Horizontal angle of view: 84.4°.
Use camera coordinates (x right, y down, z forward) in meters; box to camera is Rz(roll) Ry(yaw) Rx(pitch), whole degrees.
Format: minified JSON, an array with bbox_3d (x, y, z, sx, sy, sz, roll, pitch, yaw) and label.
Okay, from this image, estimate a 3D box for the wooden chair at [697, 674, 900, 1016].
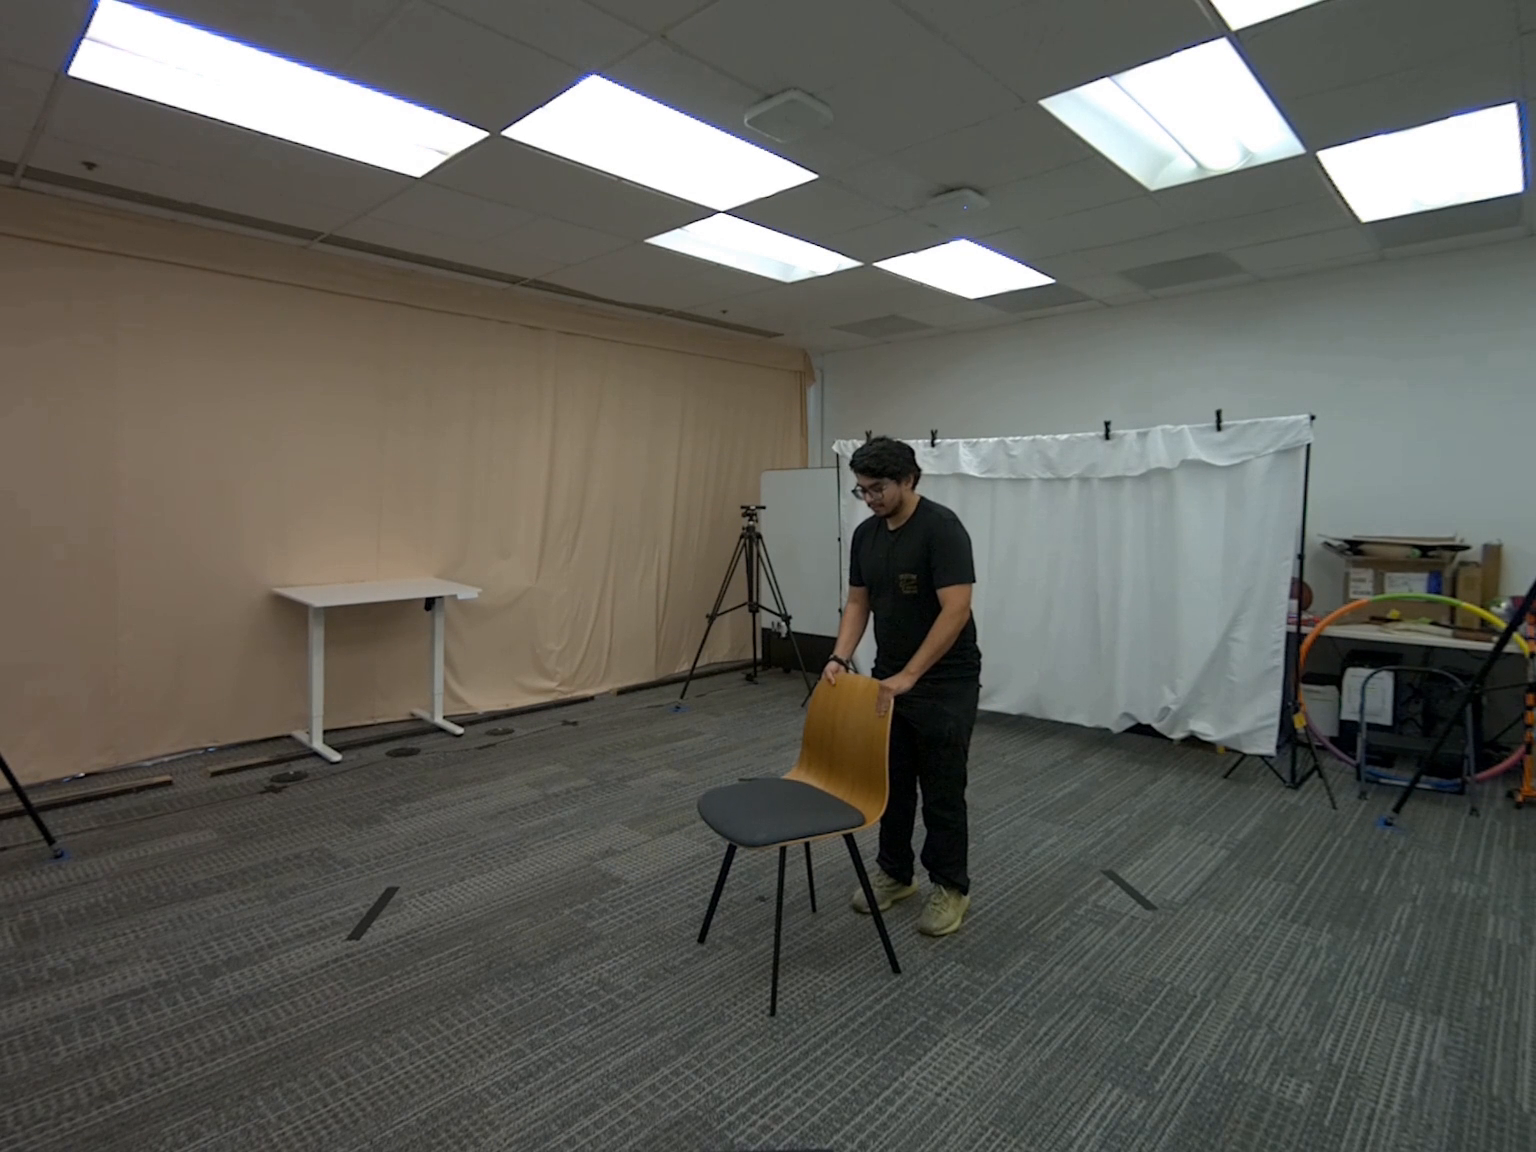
[{"bbox_3d":[0.084,0.752,2.562,0.508,0.876,0.492,3,2,-31],"label":"wooden chair"}]
